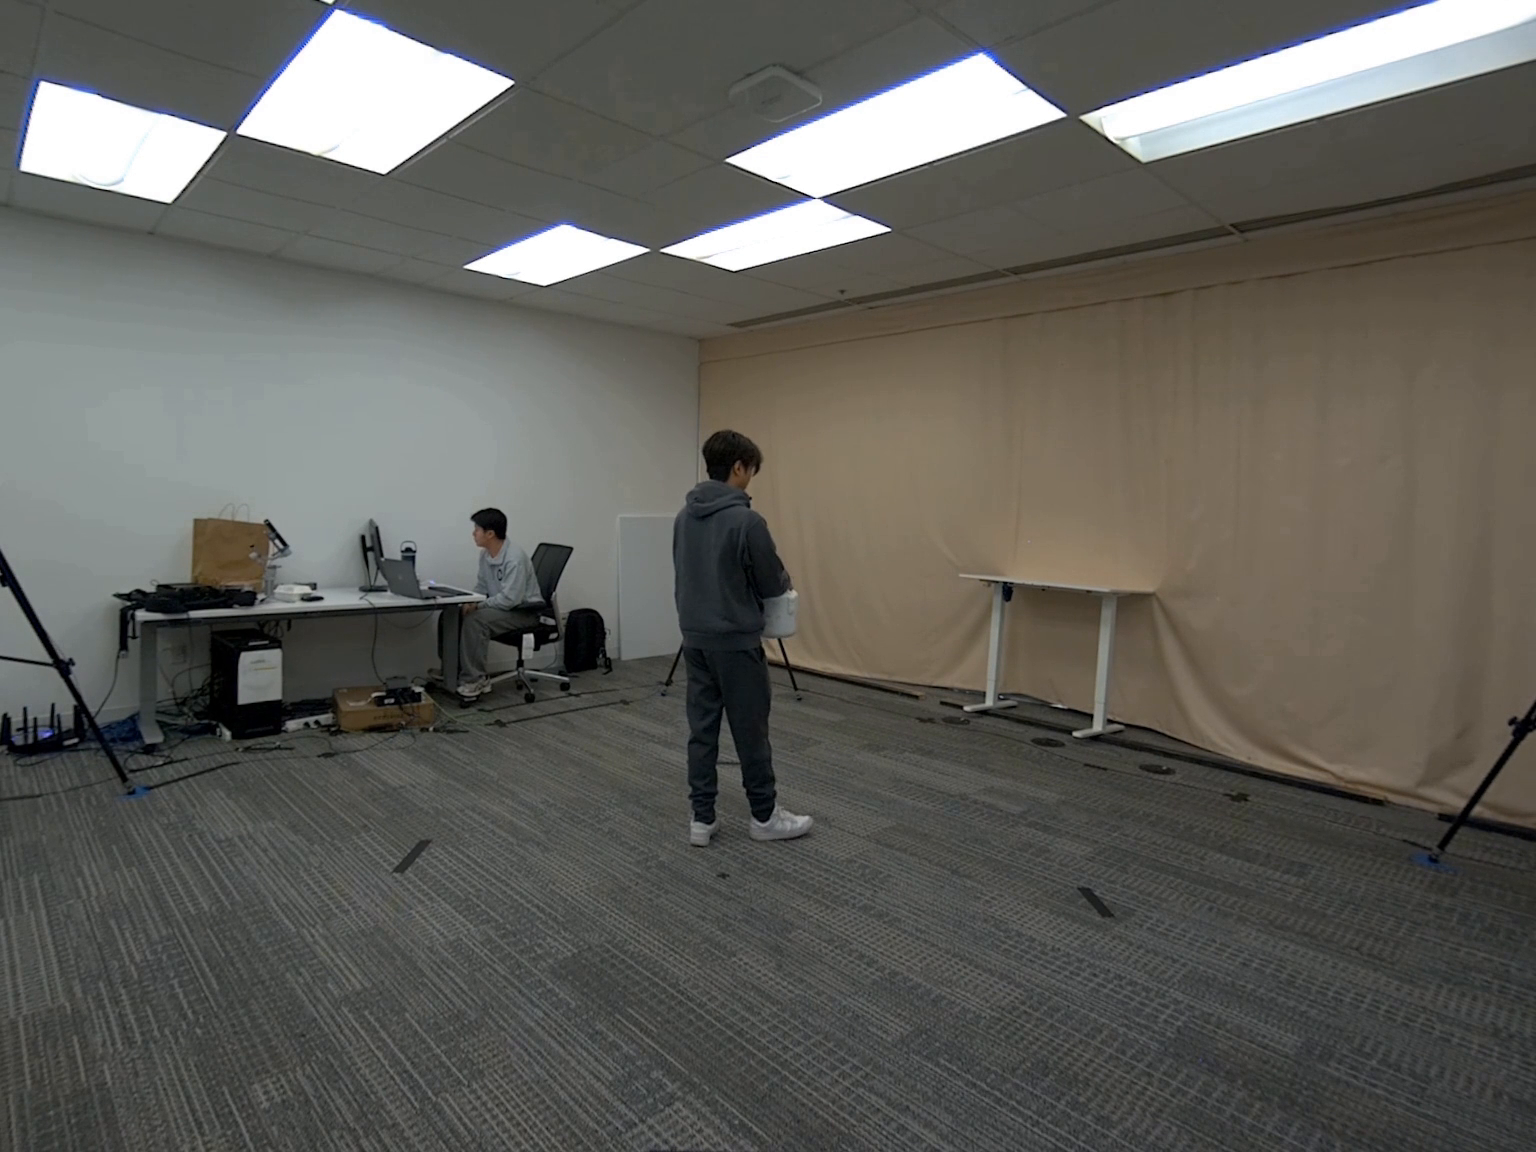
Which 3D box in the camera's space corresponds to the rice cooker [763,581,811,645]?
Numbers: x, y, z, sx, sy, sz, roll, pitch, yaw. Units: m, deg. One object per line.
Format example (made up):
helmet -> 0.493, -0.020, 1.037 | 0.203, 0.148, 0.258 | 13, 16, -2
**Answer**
rice cooker -> 0.023, 0.150, 3.701 | 0.213, 0.231, 0.226 | -5, 10, -43
